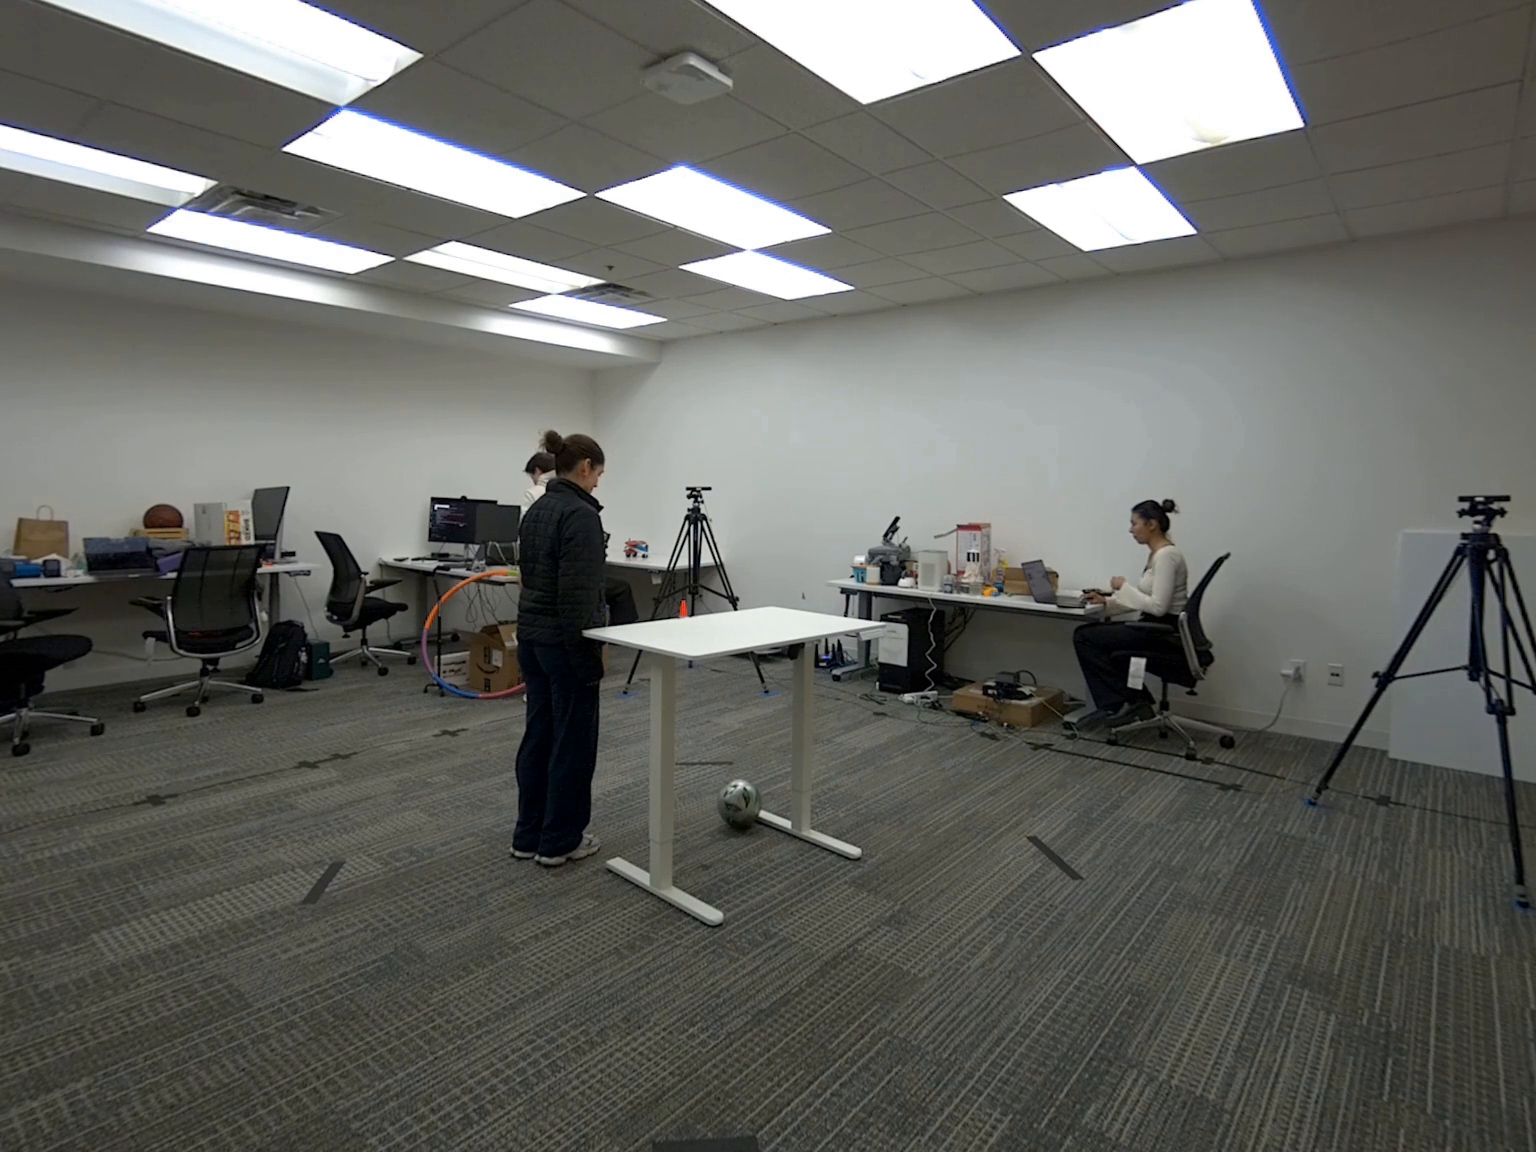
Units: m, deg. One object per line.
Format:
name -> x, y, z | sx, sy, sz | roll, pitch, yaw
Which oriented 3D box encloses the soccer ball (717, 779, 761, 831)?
soccer ball -> -0.124, 0.944, 3.492 | 0.187, 0.187, 0.188 | 1, 4, -2
